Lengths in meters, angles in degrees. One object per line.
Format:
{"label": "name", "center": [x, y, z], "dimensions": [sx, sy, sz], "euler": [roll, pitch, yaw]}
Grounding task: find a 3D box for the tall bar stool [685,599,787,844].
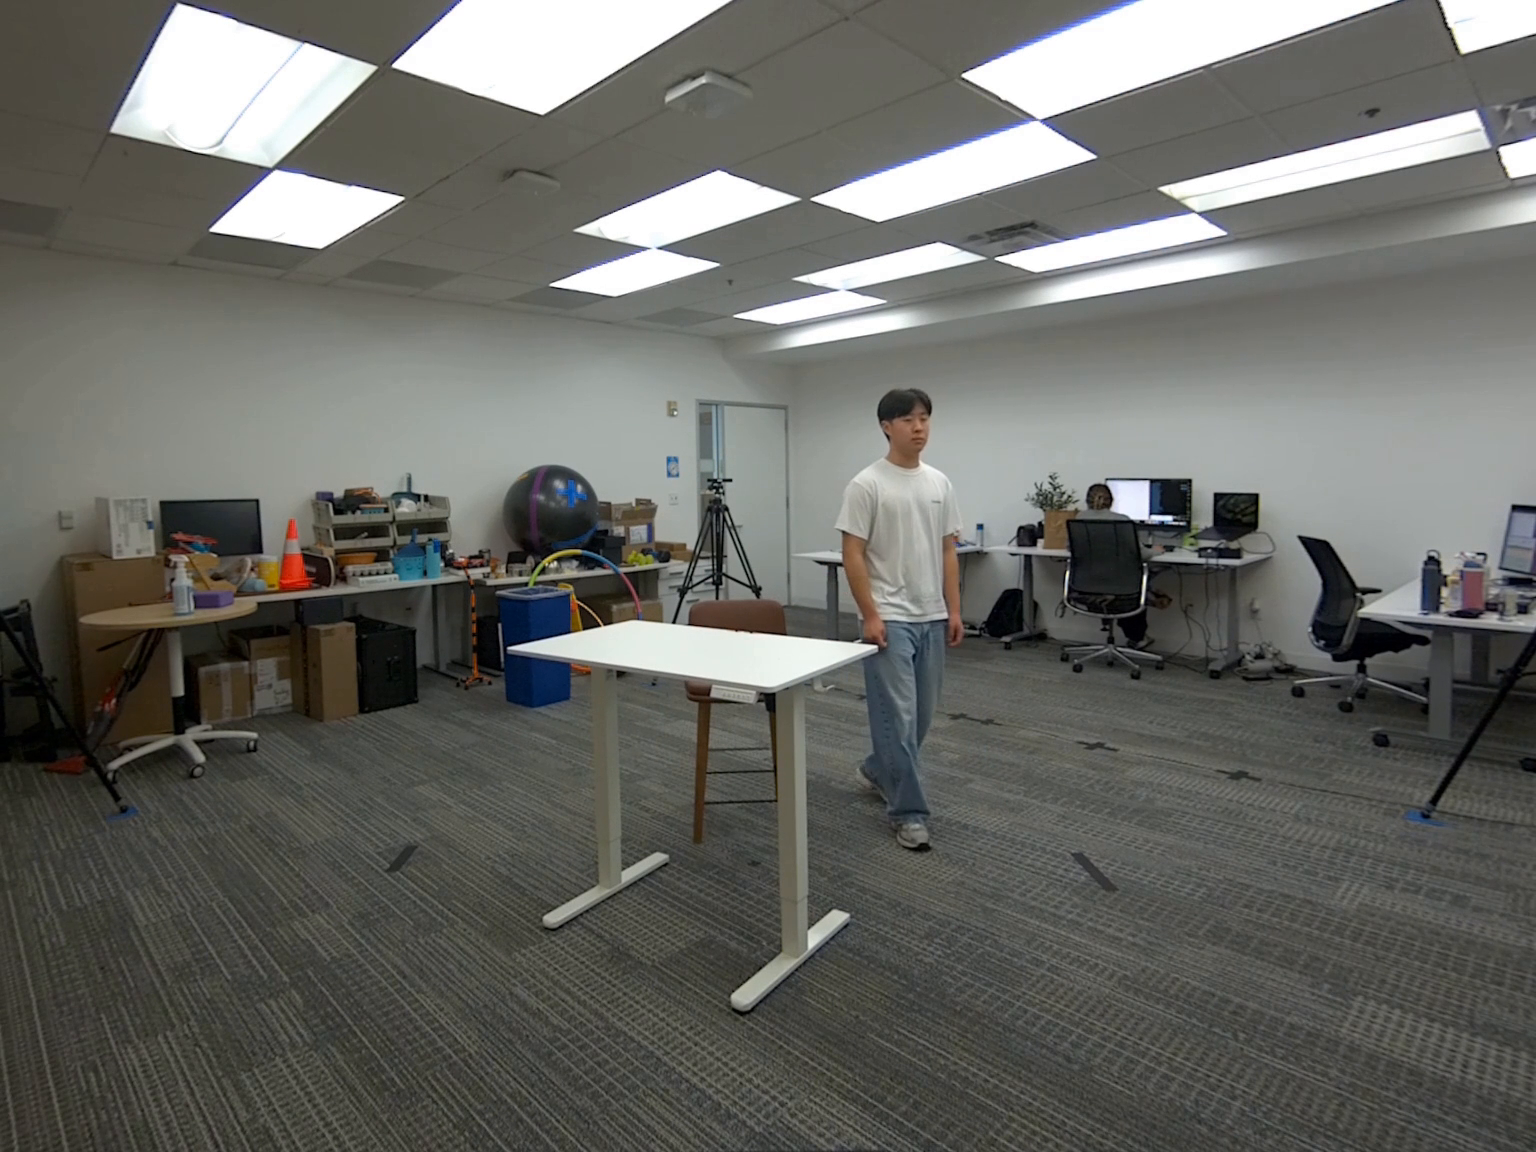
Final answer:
{"label": "tall bar stool", "center": [-0.100, 0.569, 3.491], "dimensions": [0.455, 0.888, 0.470], "euler": [0, 2, -5]}
